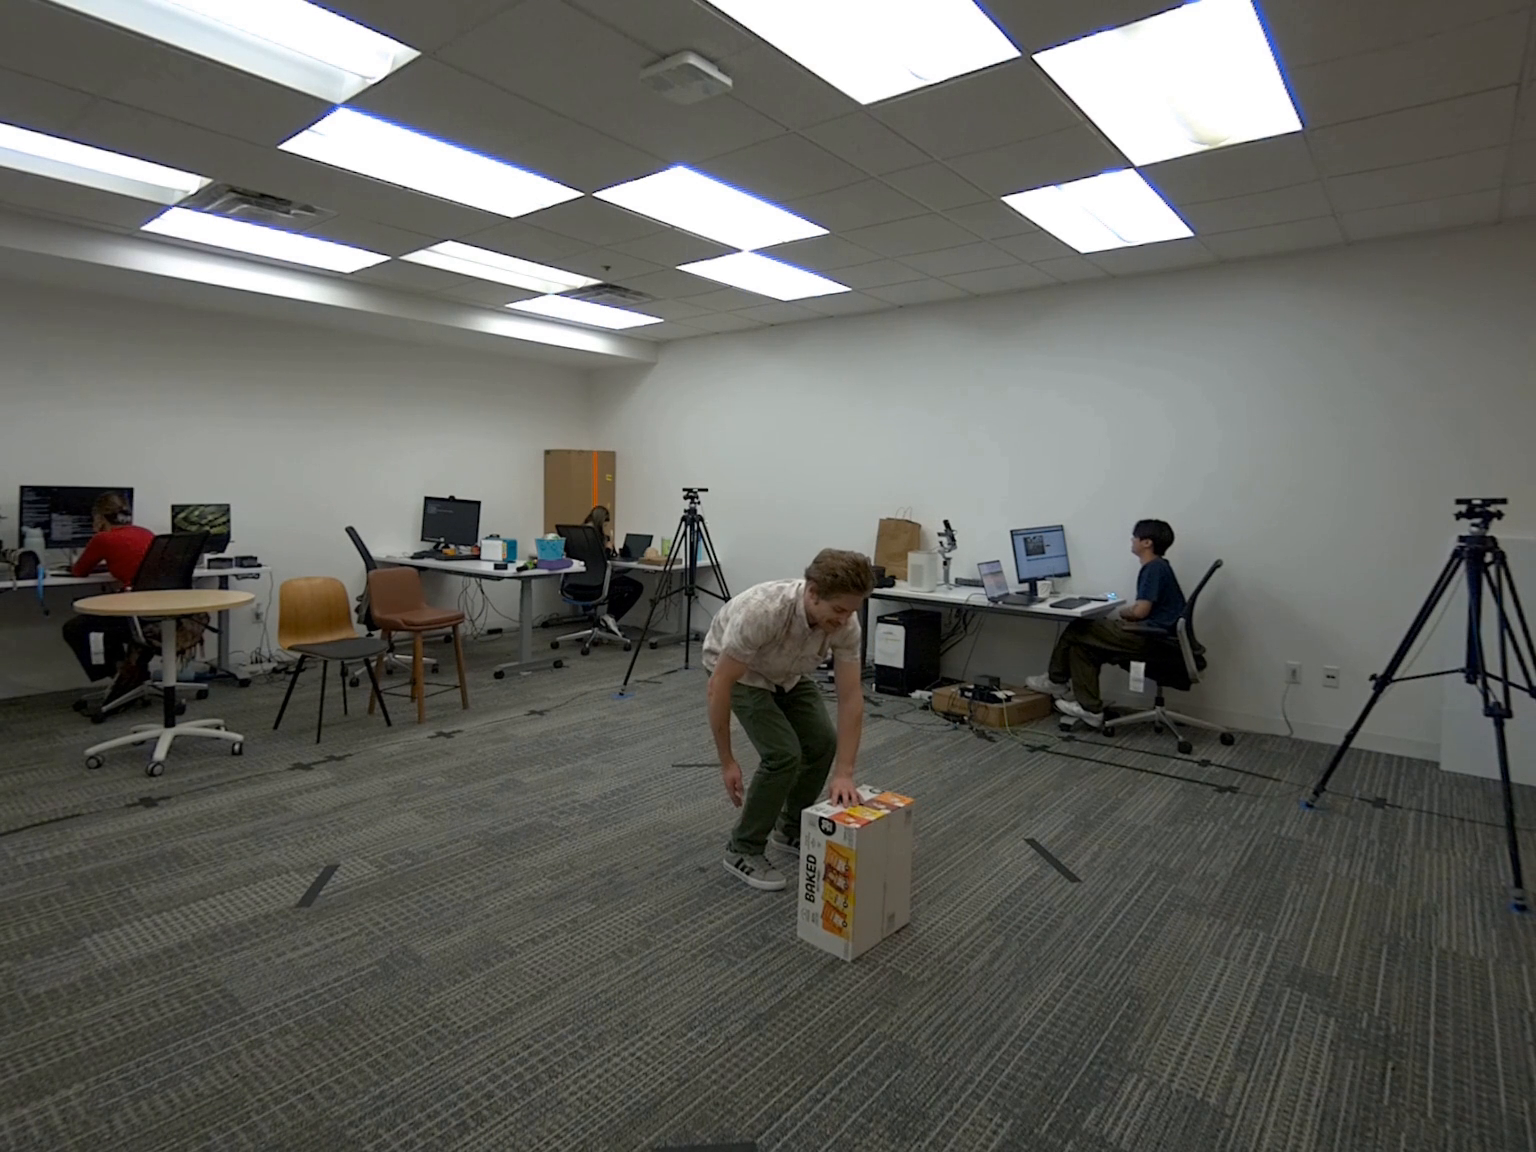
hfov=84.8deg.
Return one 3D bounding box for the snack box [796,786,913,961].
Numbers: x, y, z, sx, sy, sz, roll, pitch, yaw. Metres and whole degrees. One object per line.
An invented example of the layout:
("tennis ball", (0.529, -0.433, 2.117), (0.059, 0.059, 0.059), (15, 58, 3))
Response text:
("snack box", (0.280, 0.919, 2.689), (0.213, 0.404, 0.330), (5, 5, 41))
